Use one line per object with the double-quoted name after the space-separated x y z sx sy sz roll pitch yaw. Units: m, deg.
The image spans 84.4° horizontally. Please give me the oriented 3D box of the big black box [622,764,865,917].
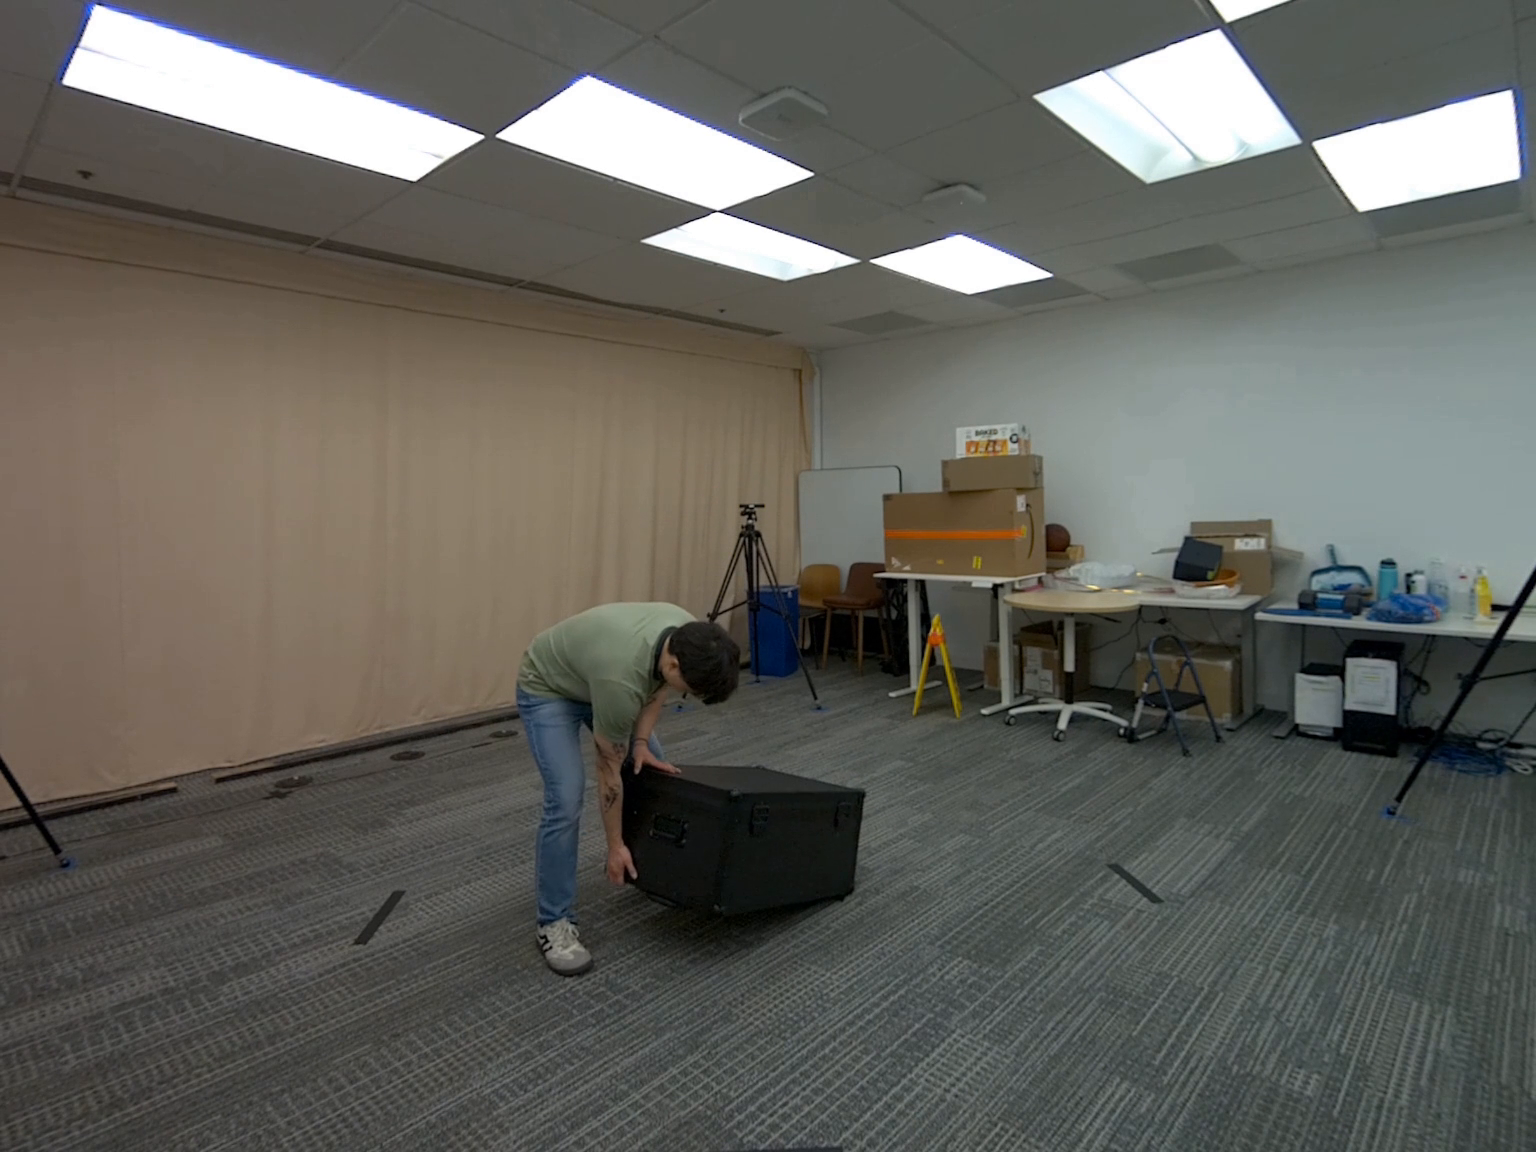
-0.055 0.889 2.902 0.538 0.398 0.831 2 -9 36 "big black box"
